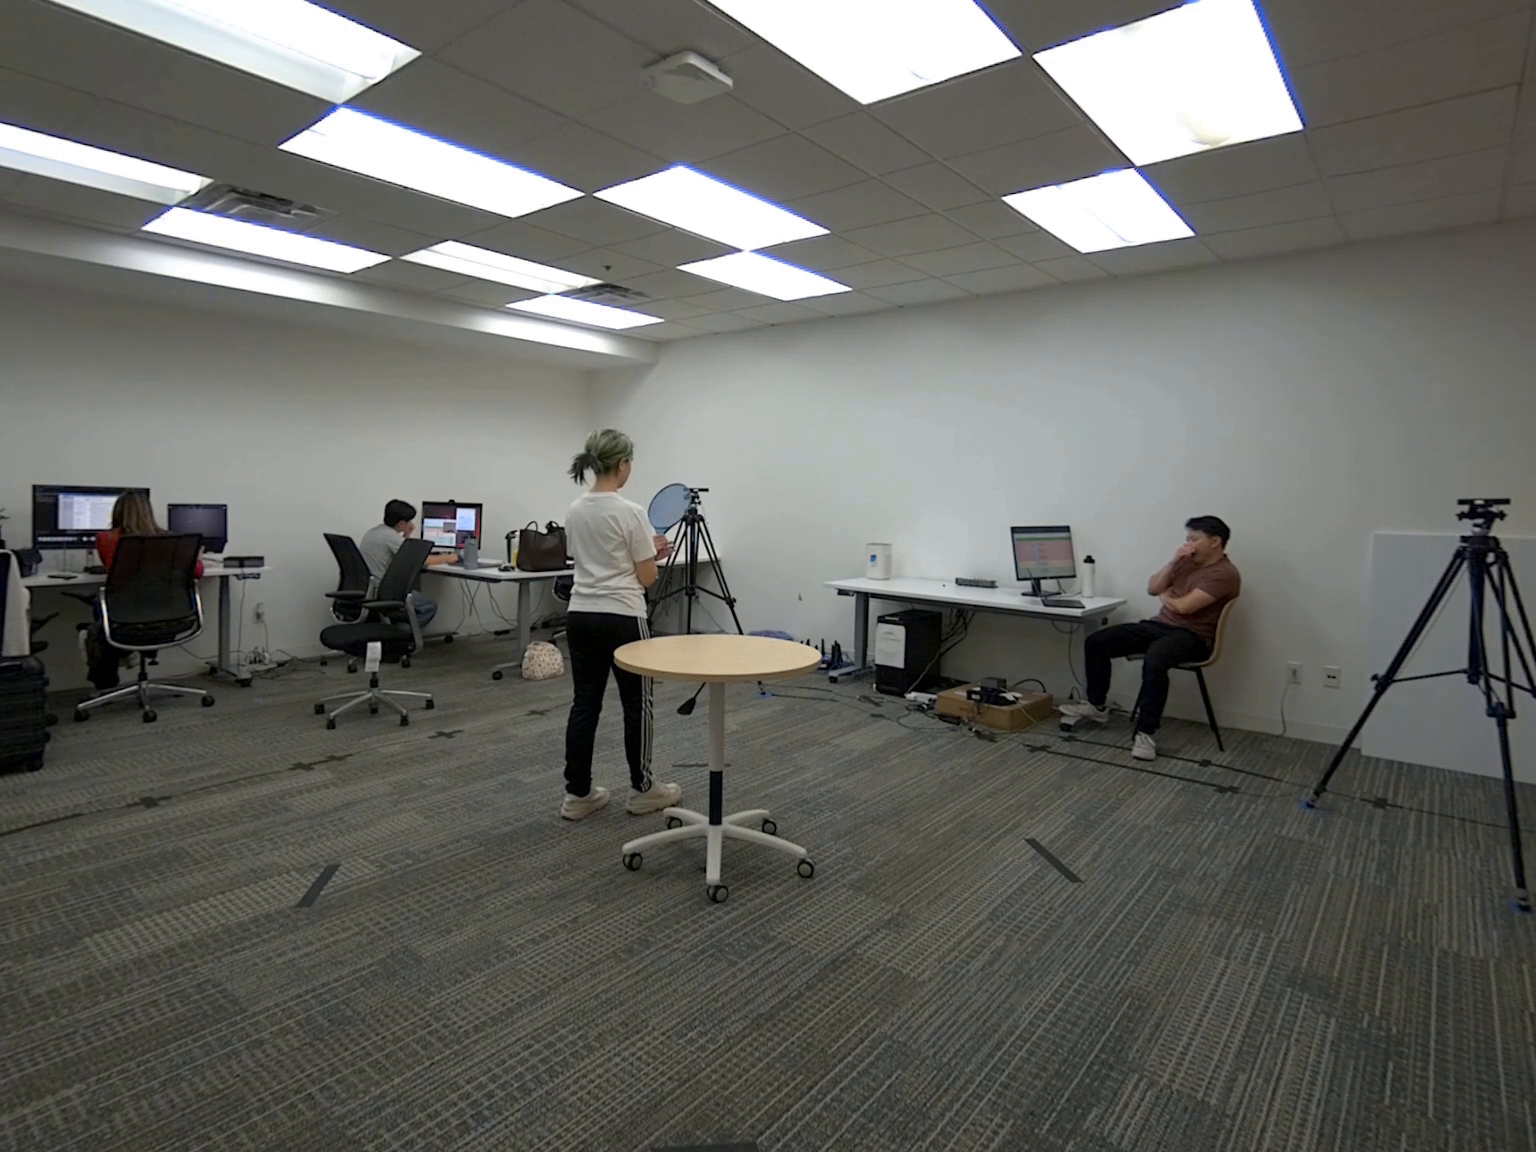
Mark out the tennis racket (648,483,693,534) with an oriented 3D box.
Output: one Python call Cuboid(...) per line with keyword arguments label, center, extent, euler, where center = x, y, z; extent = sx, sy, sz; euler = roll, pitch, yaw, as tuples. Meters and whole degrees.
Cuboid(label="tennis racket", center=(-0.489, -0.262, 3.933), extent=(0.219, 0.440, 0.030), euler=(-1, -34, 23))
